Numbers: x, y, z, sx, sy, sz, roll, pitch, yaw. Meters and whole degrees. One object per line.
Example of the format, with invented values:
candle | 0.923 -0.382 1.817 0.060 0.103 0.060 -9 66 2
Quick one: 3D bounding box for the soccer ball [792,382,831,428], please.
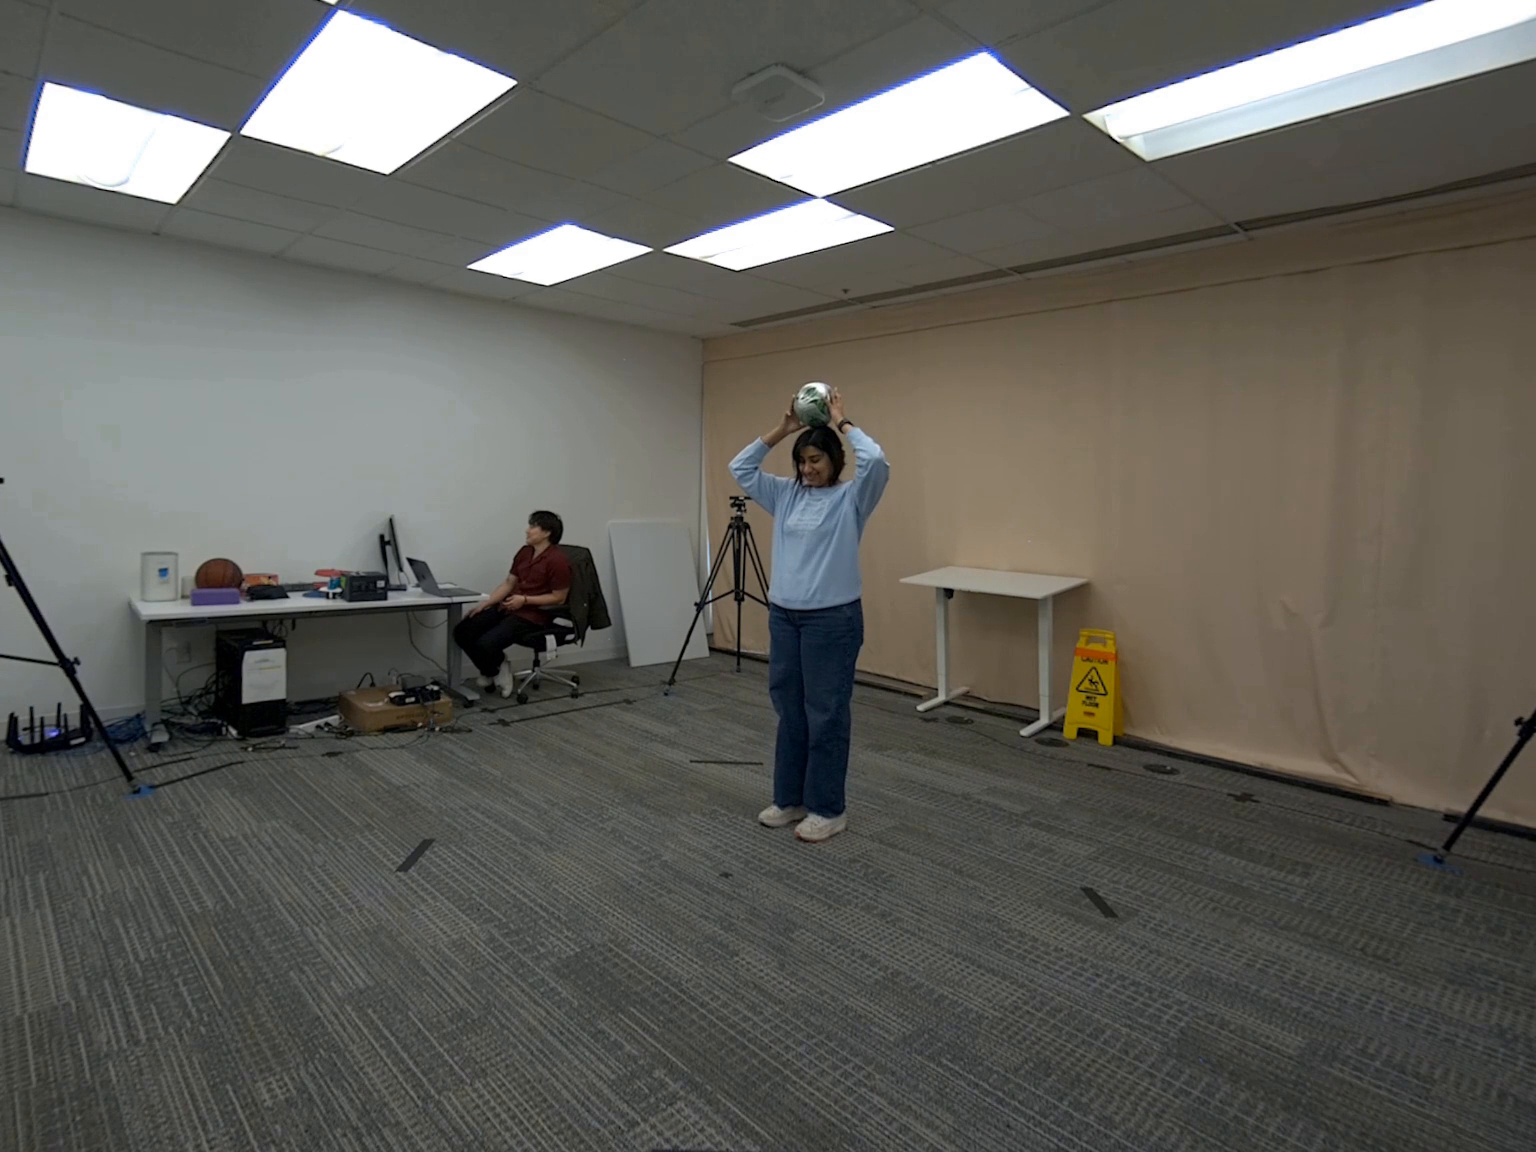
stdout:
soccer ball | 0.189 -0.713 3.496 0.187 0.187 0.188 1 4 -1
